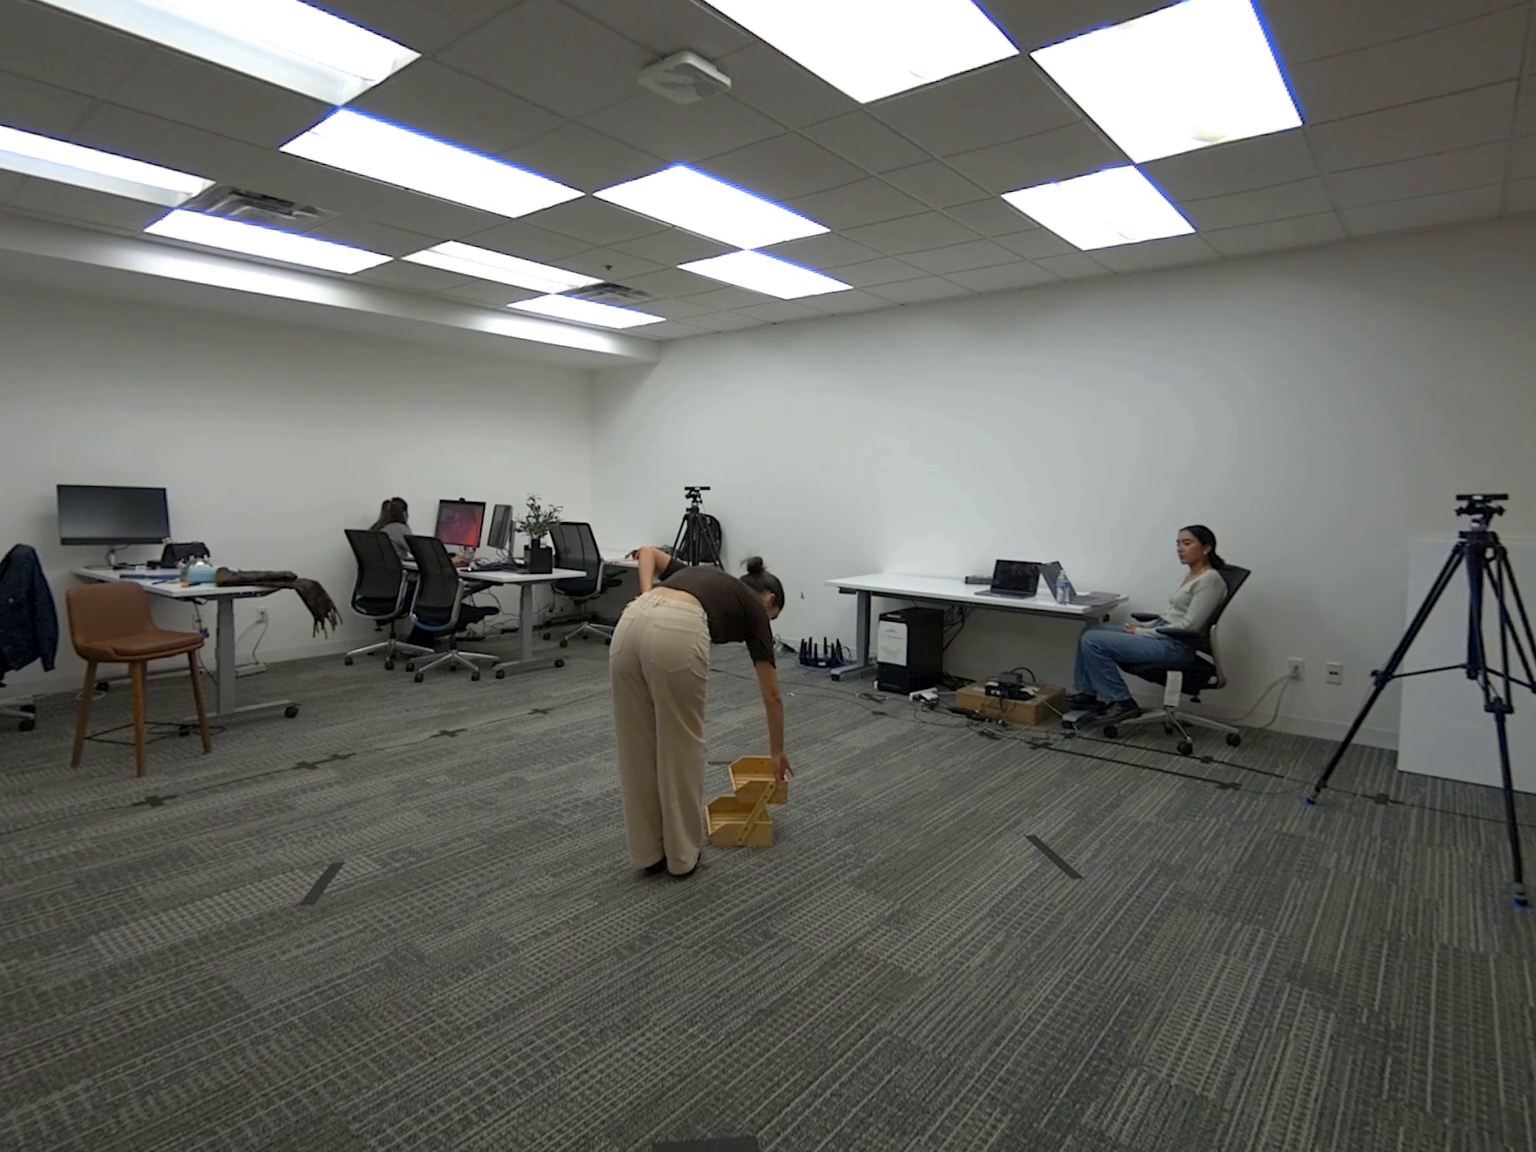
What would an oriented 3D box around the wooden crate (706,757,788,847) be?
[{"bbox_3d":[-0.109,0.898,3.443,0.300,0.272,0.327,1,5,-6],"label":"wooden crate"}]
